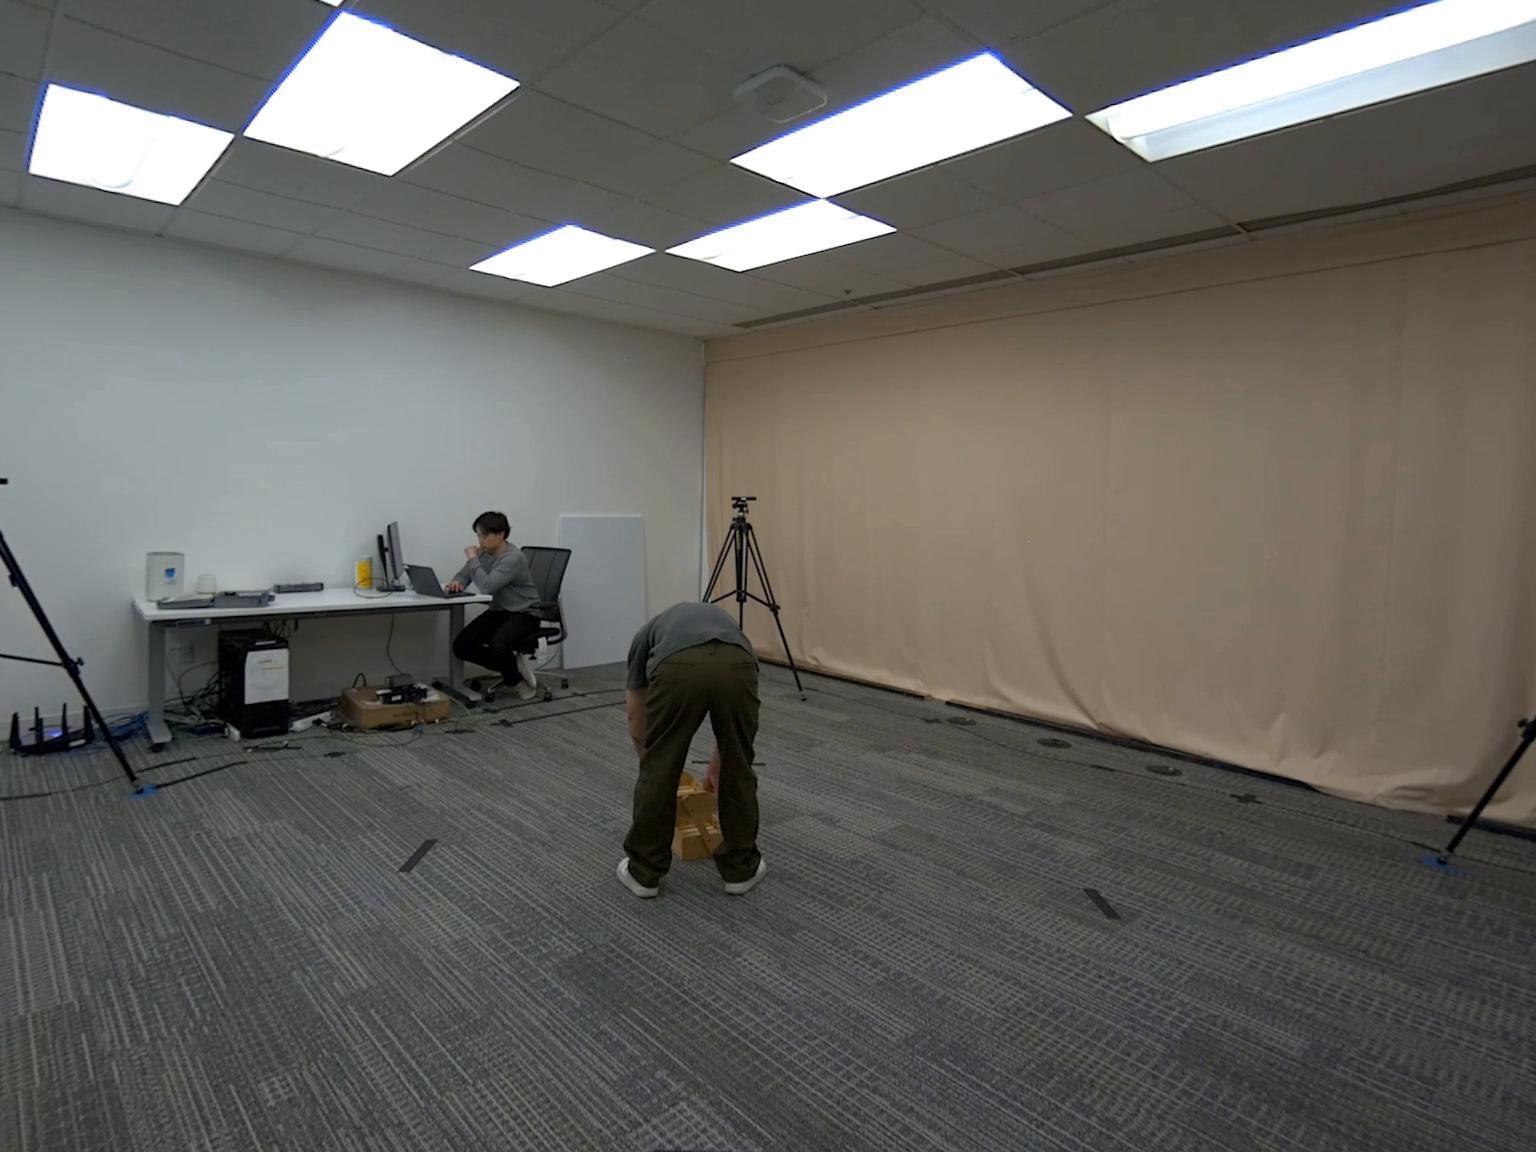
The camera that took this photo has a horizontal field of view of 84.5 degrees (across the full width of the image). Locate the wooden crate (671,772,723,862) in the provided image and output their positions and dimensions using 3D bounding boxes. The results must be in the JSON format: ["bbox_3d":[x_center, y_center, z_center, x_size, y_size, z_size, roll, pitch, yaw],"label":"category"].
[{"bbox_3d":[-0.306,0.944,3.392,0.296,0.272,0.331,-1,5,-26],"label":"wooden crate"}]
